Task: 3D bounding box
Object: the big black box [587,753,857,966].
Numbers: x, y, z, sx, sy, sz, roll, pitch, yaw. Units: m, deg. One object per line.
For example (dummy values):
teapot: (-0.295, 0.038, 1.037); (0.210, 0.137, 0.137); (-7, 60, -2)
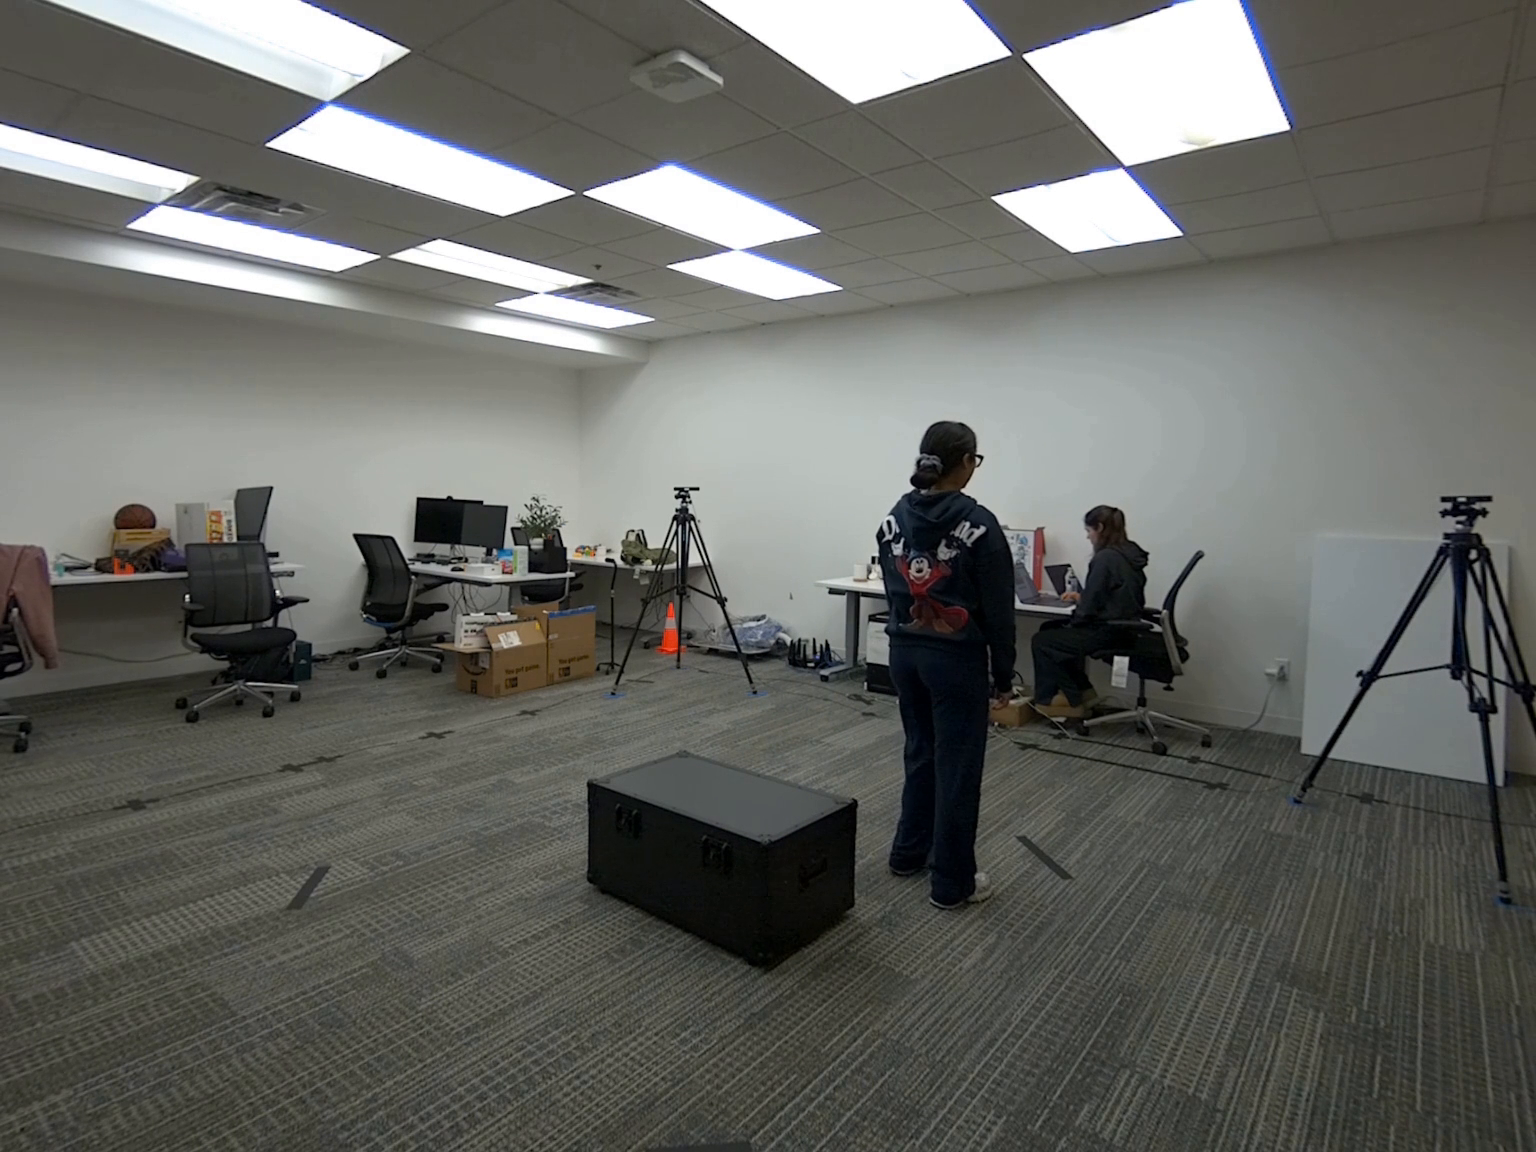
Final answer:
big black box: (-0.199, 0.899, 2.877); (0.891, 0.395, 0.506); (6, 6, 38)
